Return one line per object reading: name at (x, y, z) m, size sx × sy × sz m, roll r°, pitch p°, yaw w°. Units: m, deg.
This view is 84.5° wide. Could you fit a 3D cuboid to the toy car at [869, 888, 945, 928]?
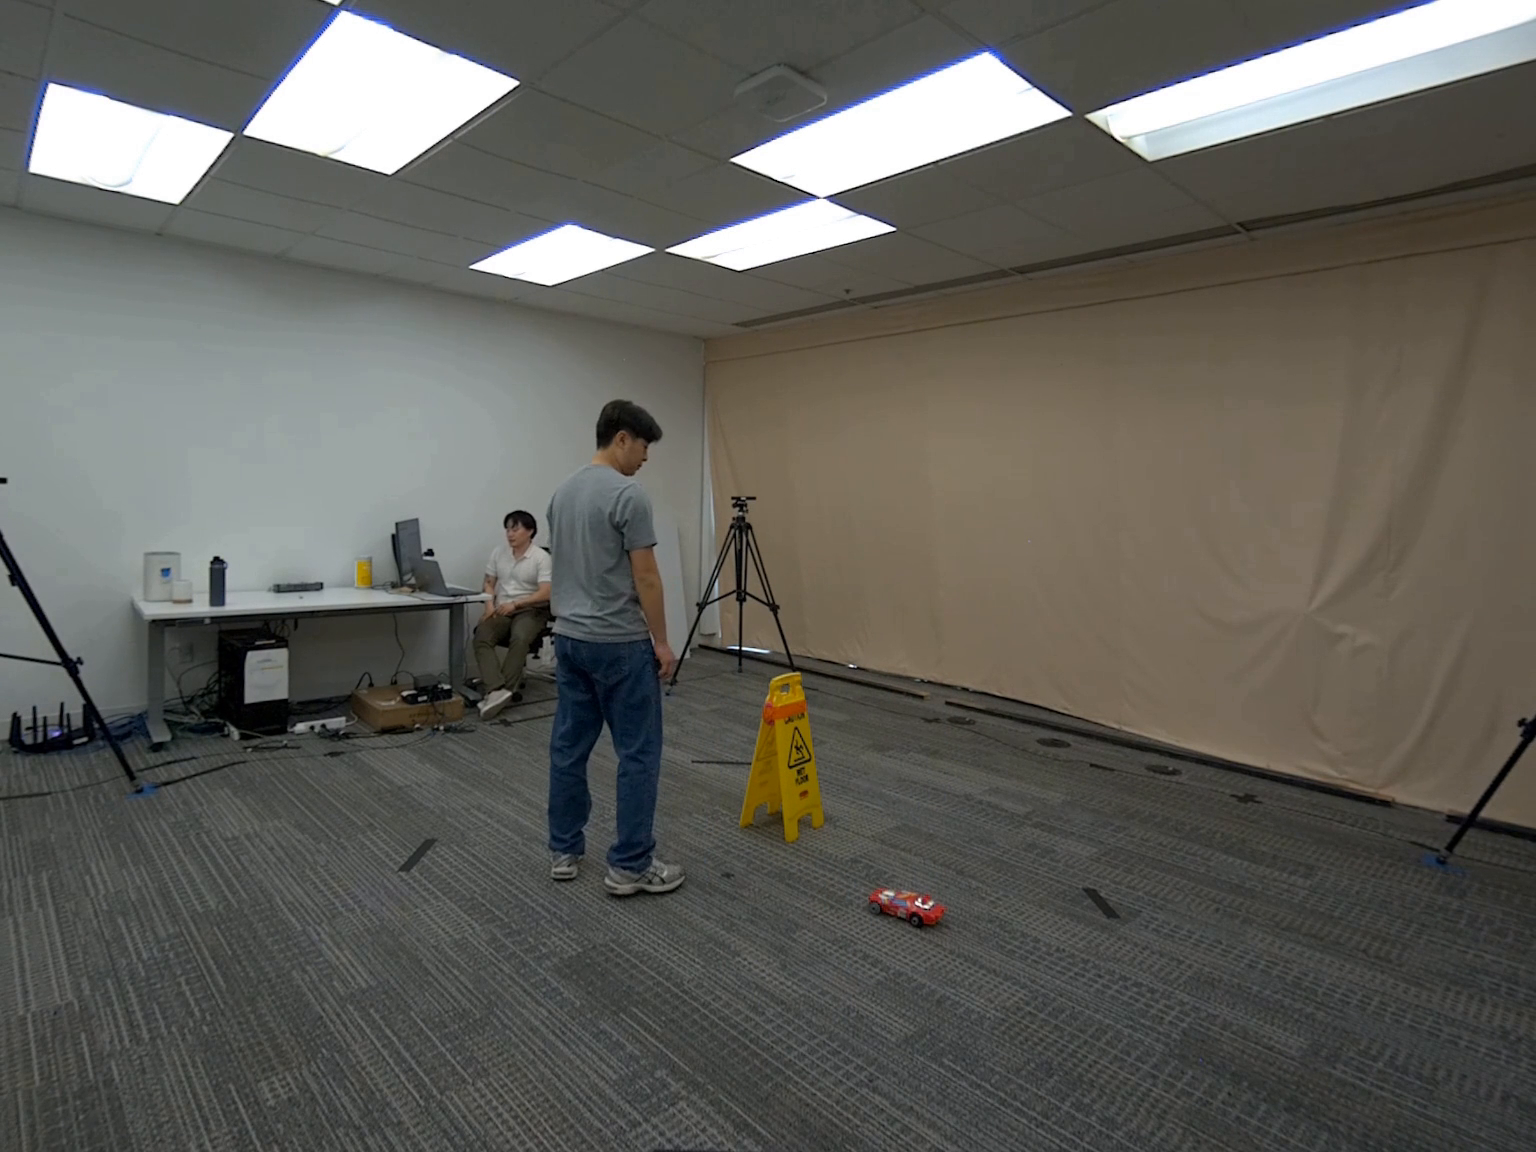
toy car at (0.464, 1.116, 2.823) m, size 0.259 × 0.083 × 0.127 m, roll -7°, pitch -2°, yaw 34°
